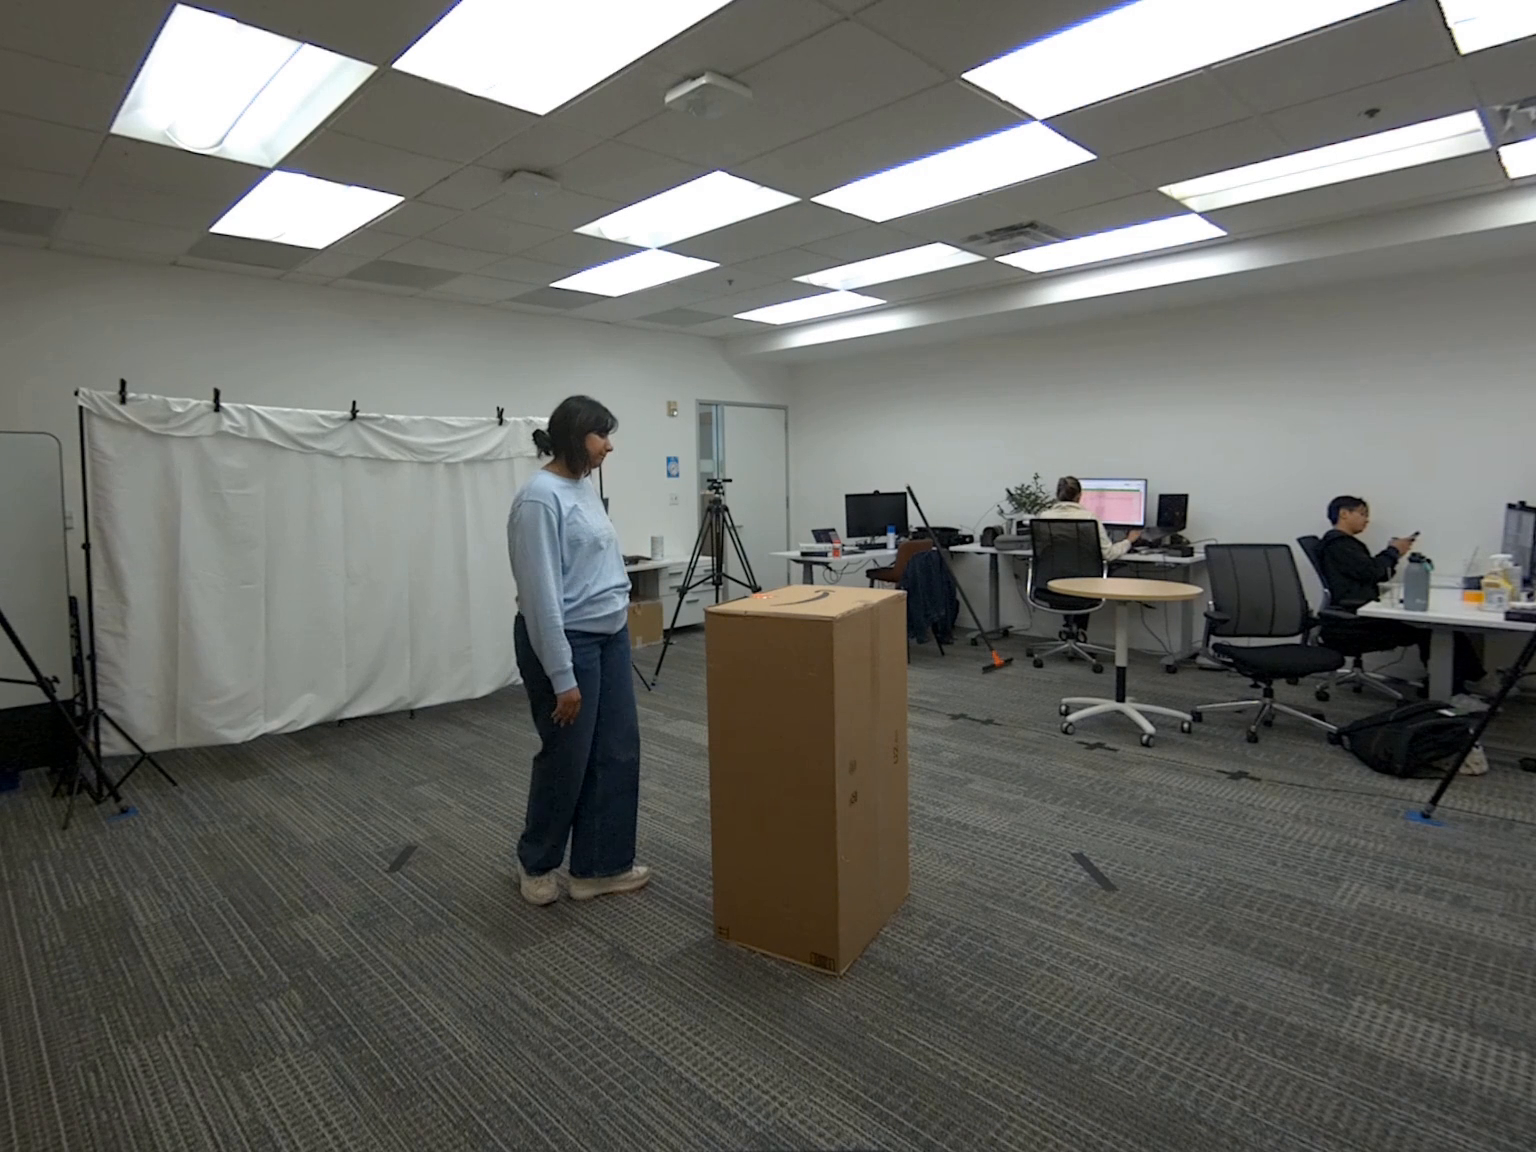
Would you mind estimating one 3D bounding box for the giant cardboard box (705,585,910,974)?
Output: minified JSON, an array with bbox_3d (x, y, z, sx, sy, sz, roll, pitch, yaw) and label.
[{"bbox_3d":[0.140,0.577,2.700,0.437,1.022,0.564,1,5,31],"label":"giant cardboard box"}]
